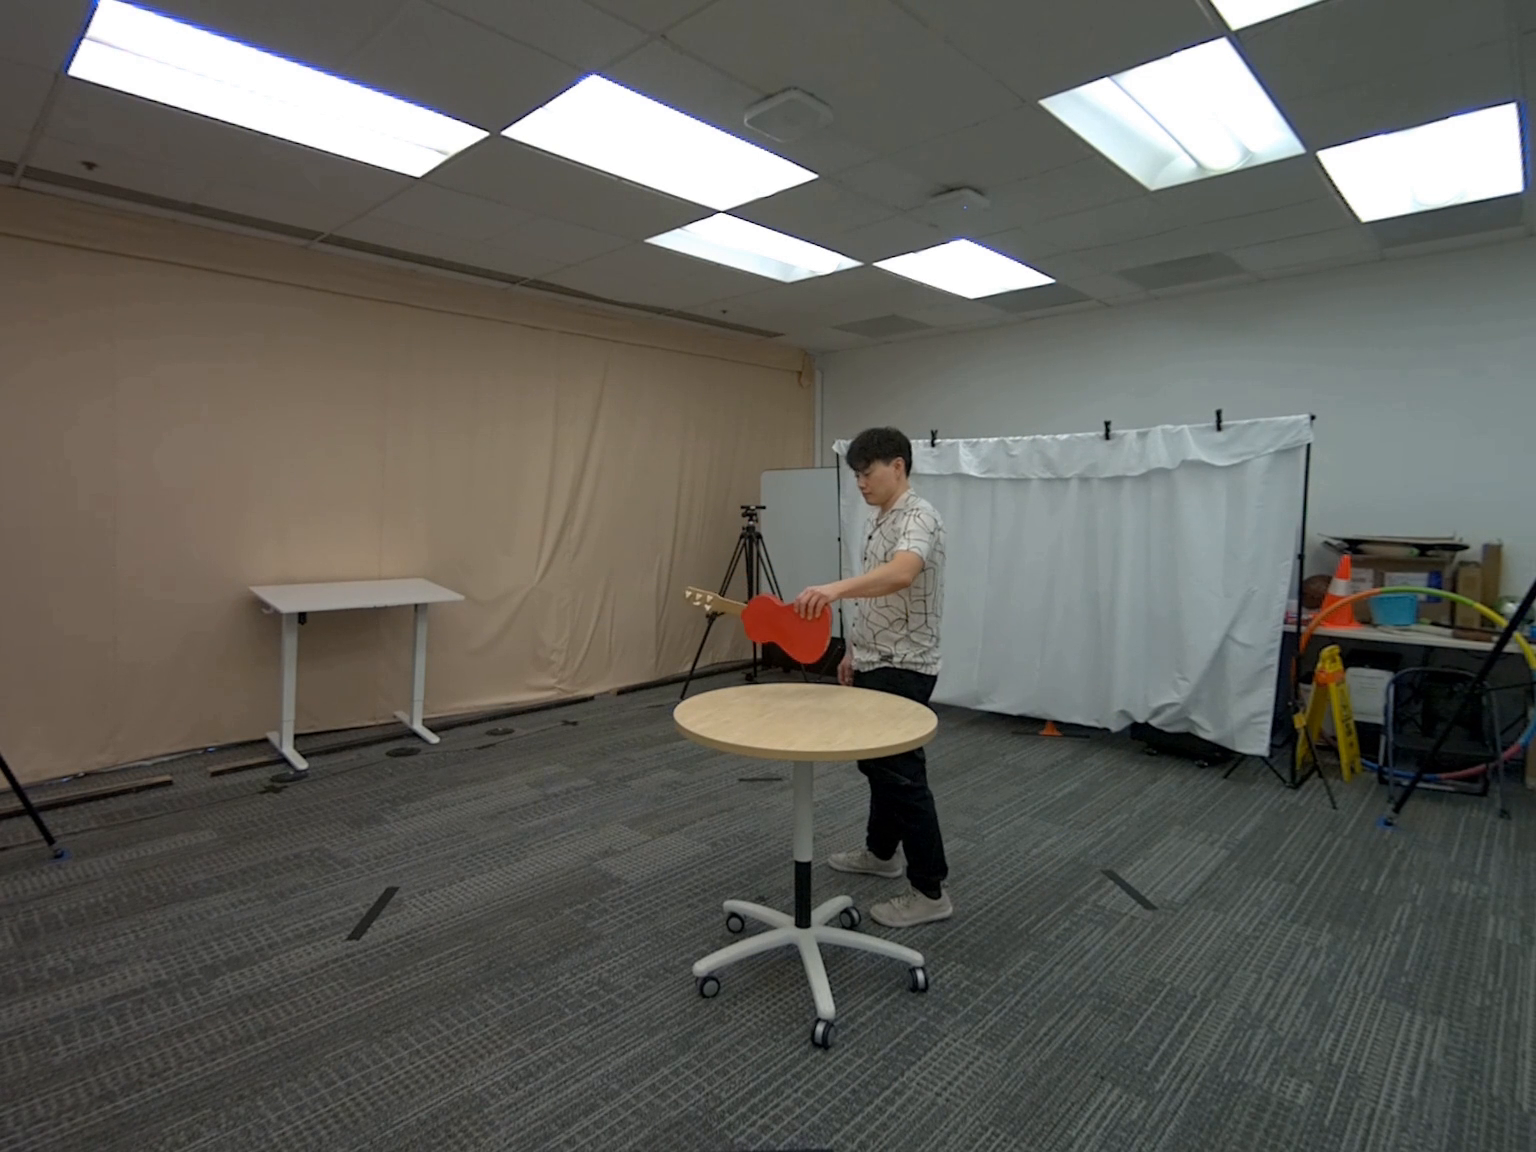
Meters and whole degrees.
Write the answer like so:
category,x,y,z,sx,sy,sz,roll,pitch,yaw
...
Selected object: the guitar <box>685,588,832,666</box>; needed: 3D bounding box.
category,x,y,z,sx,sy,sz,roll,pitch,yaw
guitar,-0.040,0.149,2.614,0.509,0.192,0.069,5,7,21
